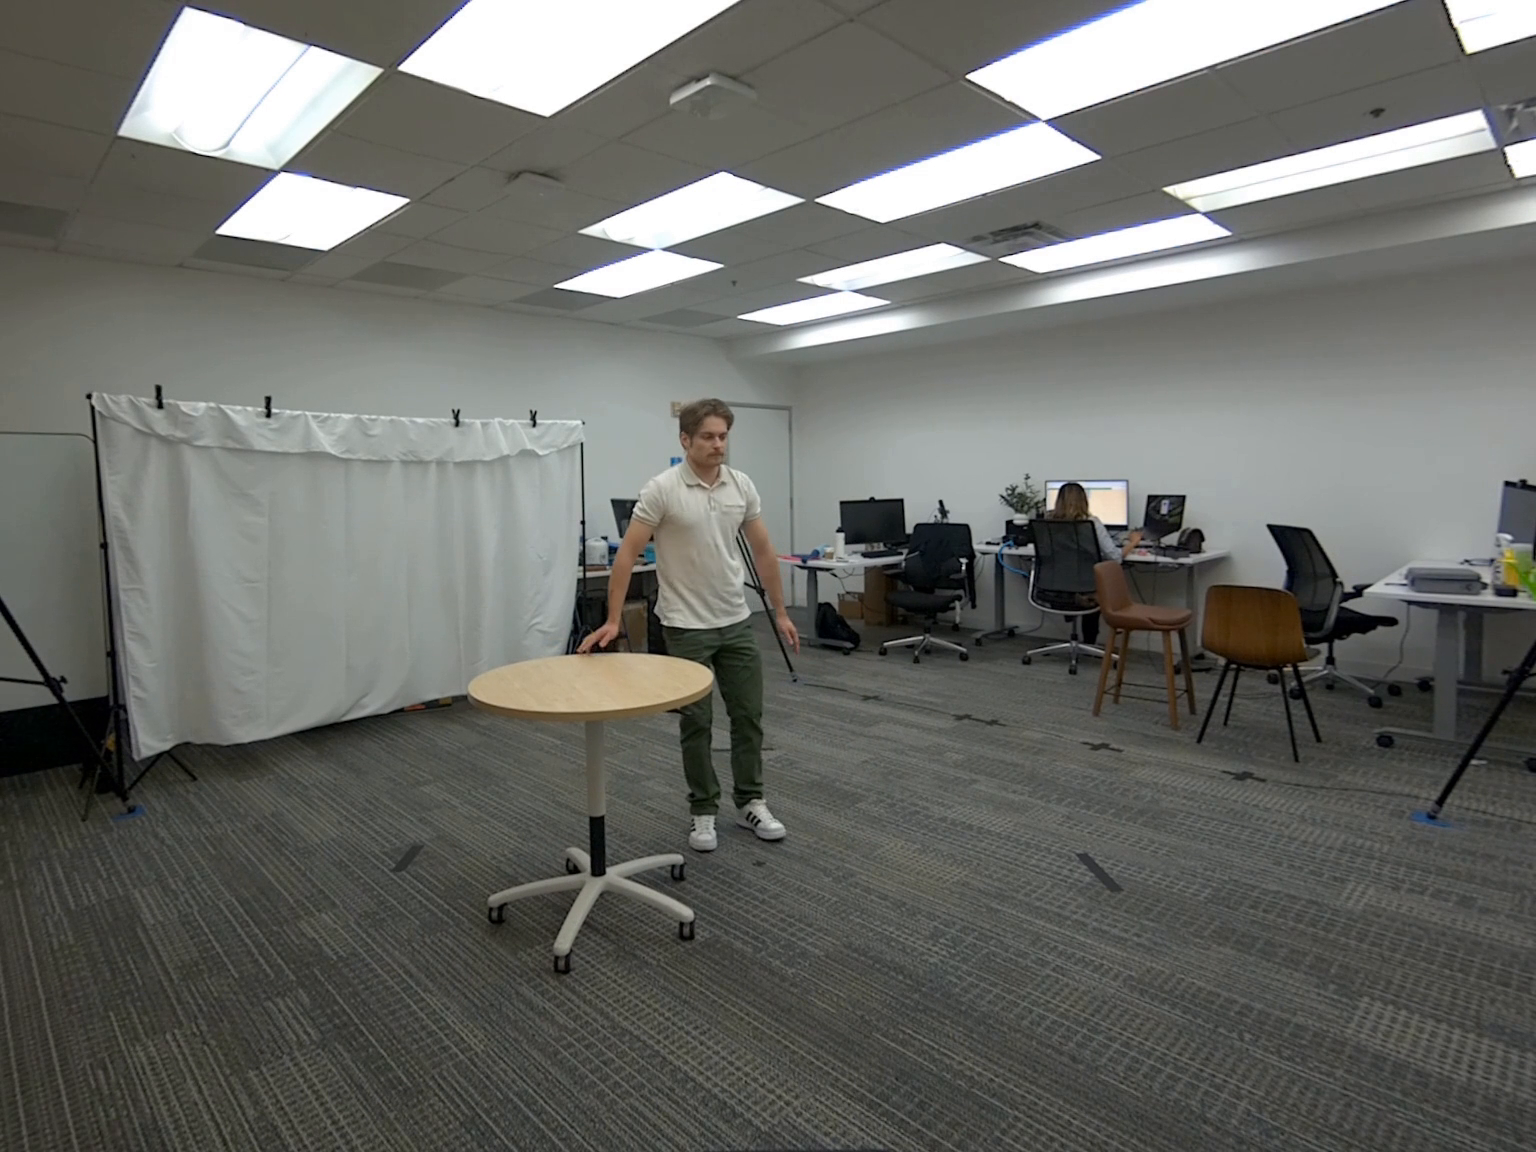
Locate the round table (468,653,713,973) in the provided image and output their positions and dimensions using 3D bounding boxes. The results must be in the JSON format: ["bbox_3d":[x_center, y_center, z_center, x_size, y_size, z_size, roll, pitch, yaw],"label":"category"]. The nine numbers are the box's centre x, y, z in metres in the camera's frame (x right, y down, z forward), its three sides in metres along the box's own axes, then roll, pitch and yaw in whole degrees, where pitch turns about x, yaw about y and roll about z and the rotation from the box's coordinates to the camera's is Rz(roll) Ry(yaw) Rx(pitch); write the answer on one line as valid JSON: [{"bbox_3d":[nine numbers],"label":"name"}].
[{"bbox_3d":[-0.547,0.716,2.732,0.763,0.790,0.768,-1,5,-2],"label":"round table"}]
